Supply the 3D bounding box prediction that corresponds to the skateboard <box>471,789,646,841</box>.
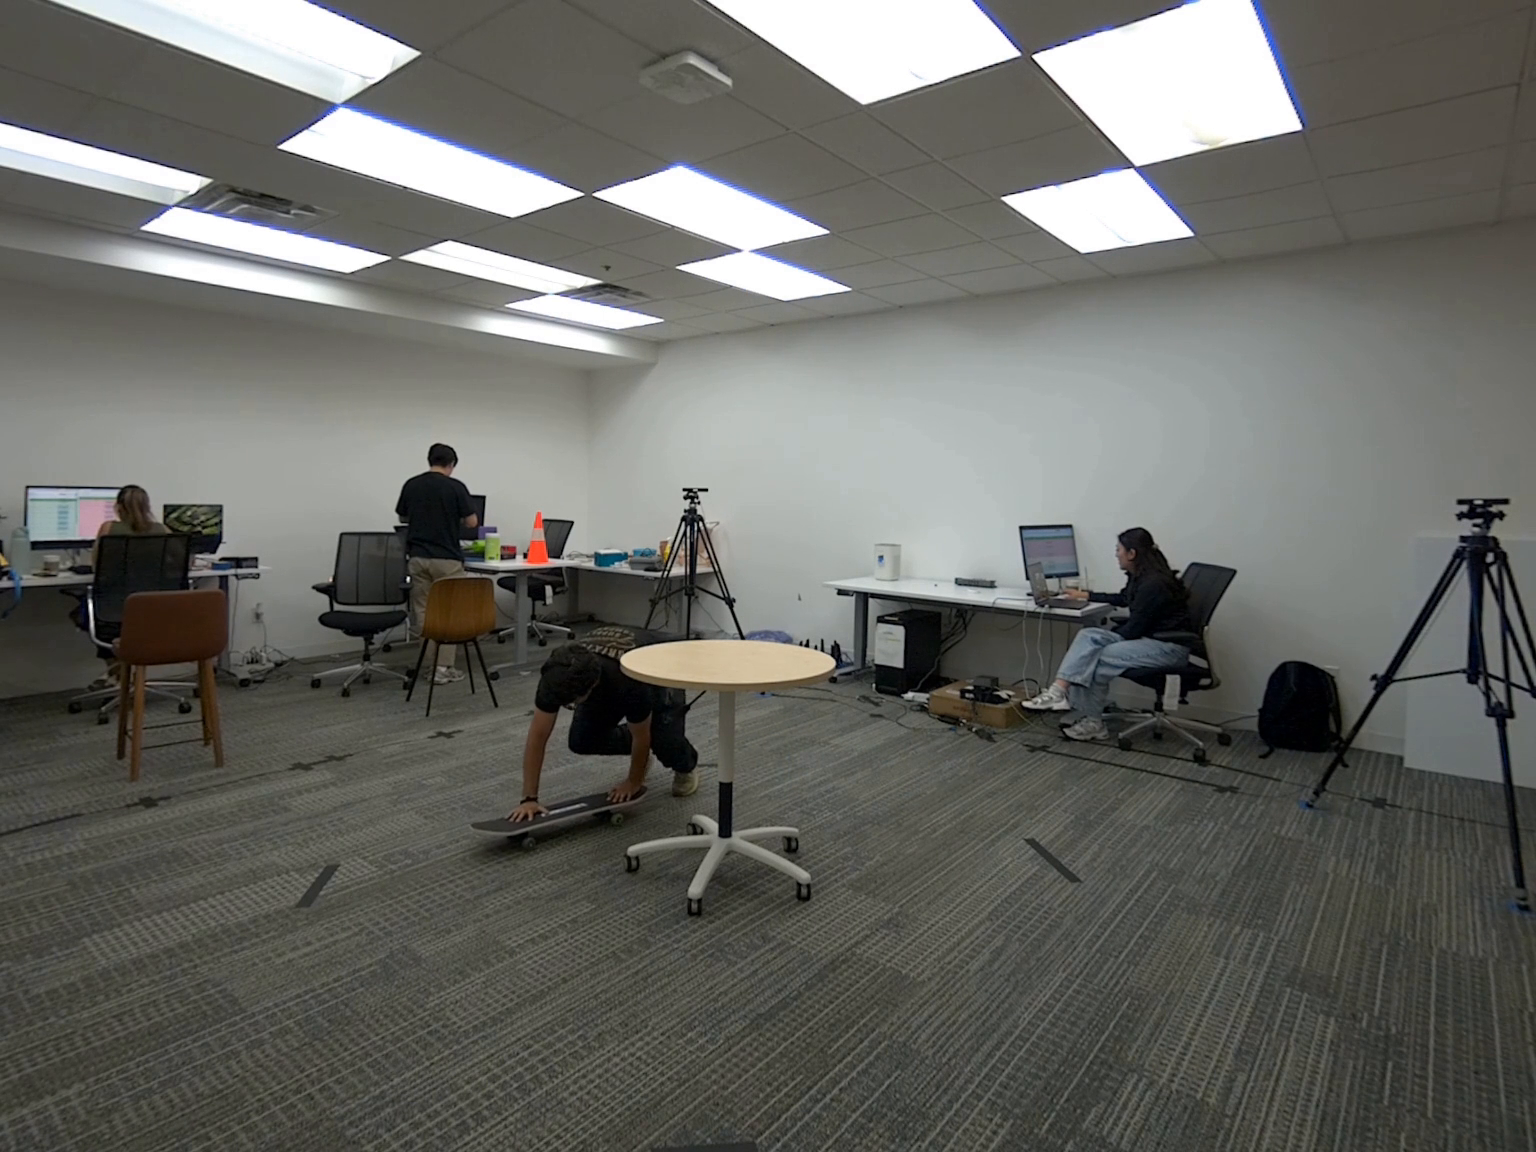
[{"bbox_3d":[-0.835,0.976,3.430,0.762,0.110,0.199,-4,3,-41],"label":"skateboard"}]
